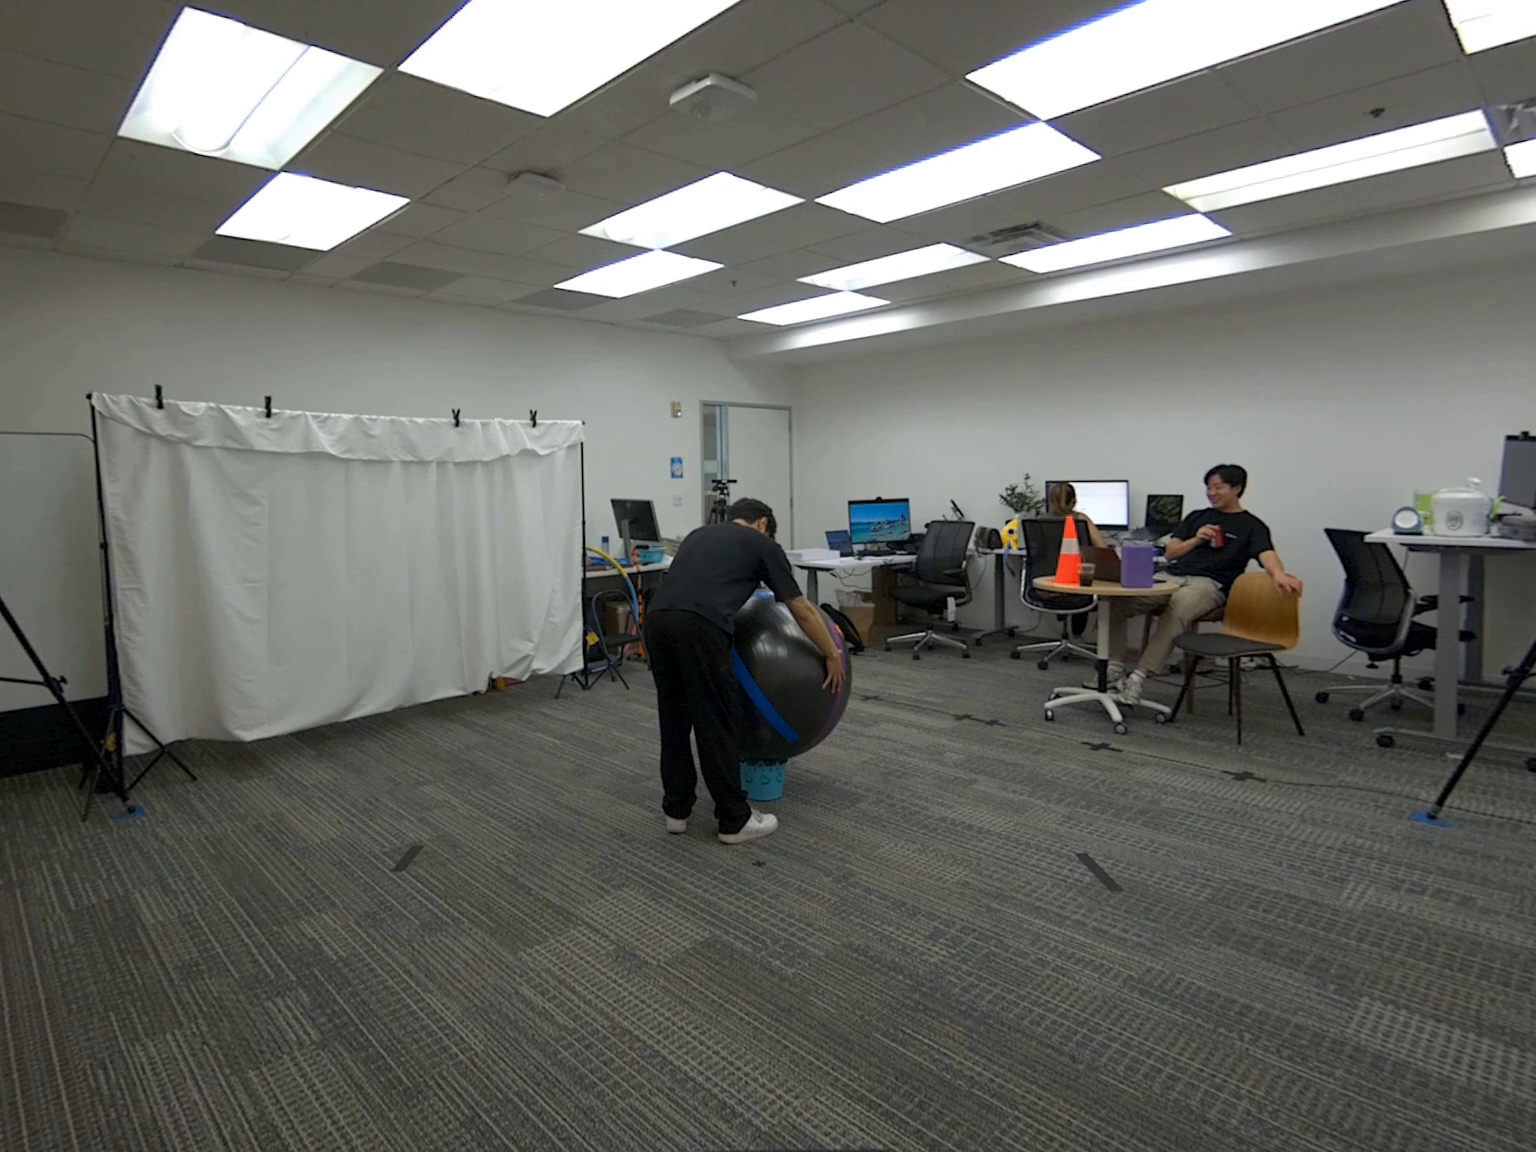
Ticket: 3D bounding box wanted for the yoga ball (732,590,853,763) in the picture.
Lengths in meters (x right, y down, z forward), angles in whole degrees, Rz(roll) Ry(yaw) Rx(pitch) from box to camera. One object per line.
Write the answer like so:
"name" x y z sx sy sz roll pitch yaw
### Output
"yoga ball" -0.001 0.446 3.849 0.757 0.755 0.762 -1 5 -2
